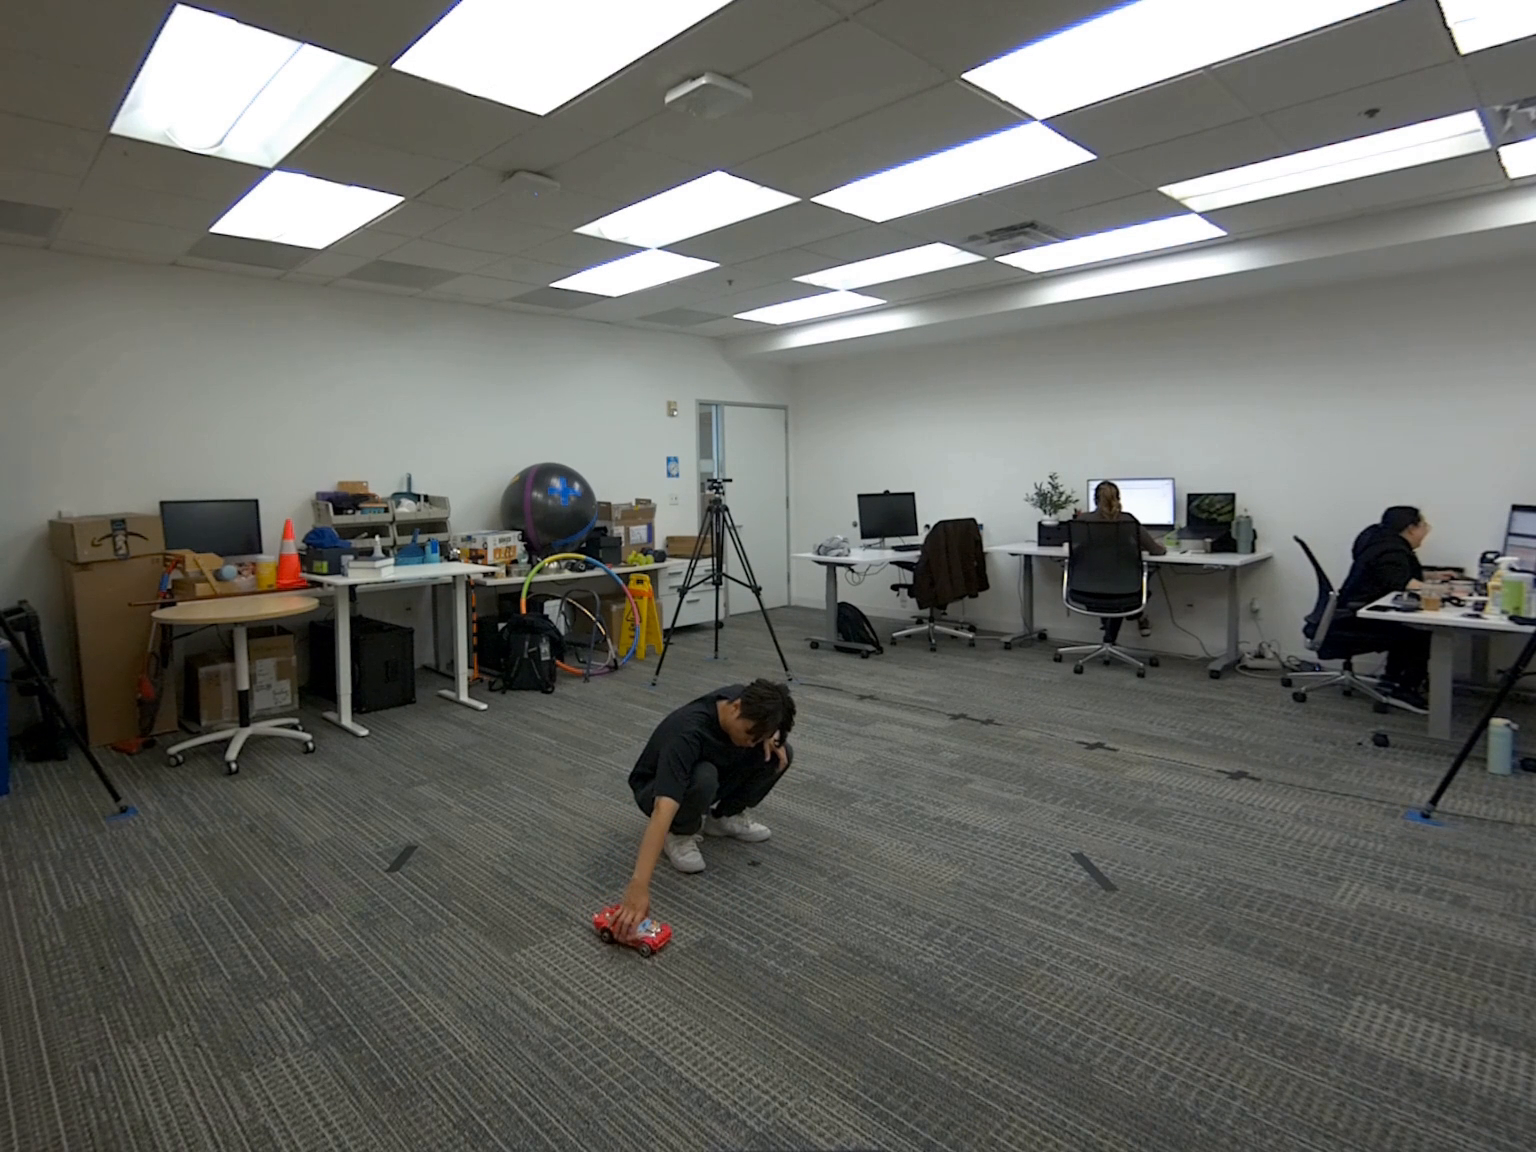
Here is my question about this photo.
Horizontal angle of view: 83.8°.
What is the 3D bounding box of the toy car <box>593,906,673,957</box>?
[{"bbox_3d":[-0.421,1.083,2.612,0.262,0.082,0.127,15,13,29],"label":"toy car"}]
